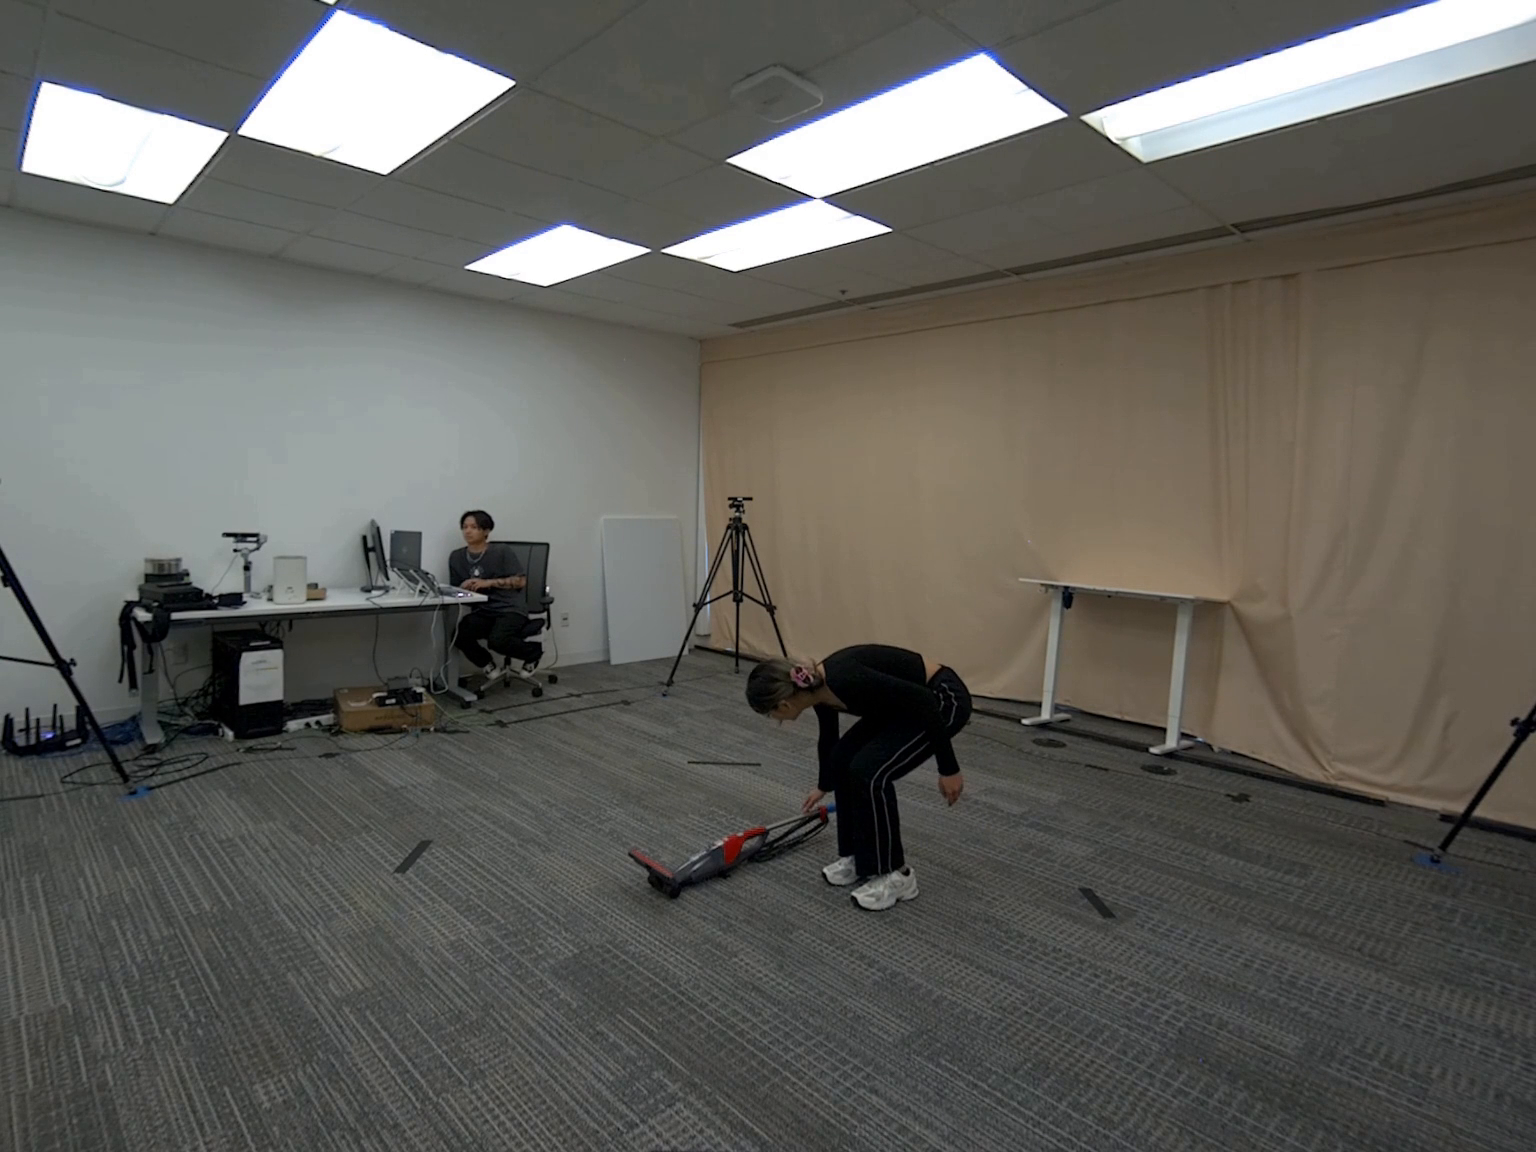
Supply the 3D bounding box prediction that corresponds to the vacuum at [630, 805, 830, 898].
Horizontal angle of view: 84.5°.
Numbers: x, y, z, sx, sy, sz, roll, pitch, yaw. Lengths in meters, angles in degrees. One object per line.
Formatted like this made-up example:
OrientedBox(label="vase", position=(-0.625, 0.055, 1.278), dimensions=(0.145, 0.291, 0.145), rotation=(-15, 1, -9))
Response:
OrientedBox(label="vacuum", position=(-0.020, 1.031, 3.278), dimensions=(1.025, 0.143, 0.260), rotation=(-2, 11, -42))
